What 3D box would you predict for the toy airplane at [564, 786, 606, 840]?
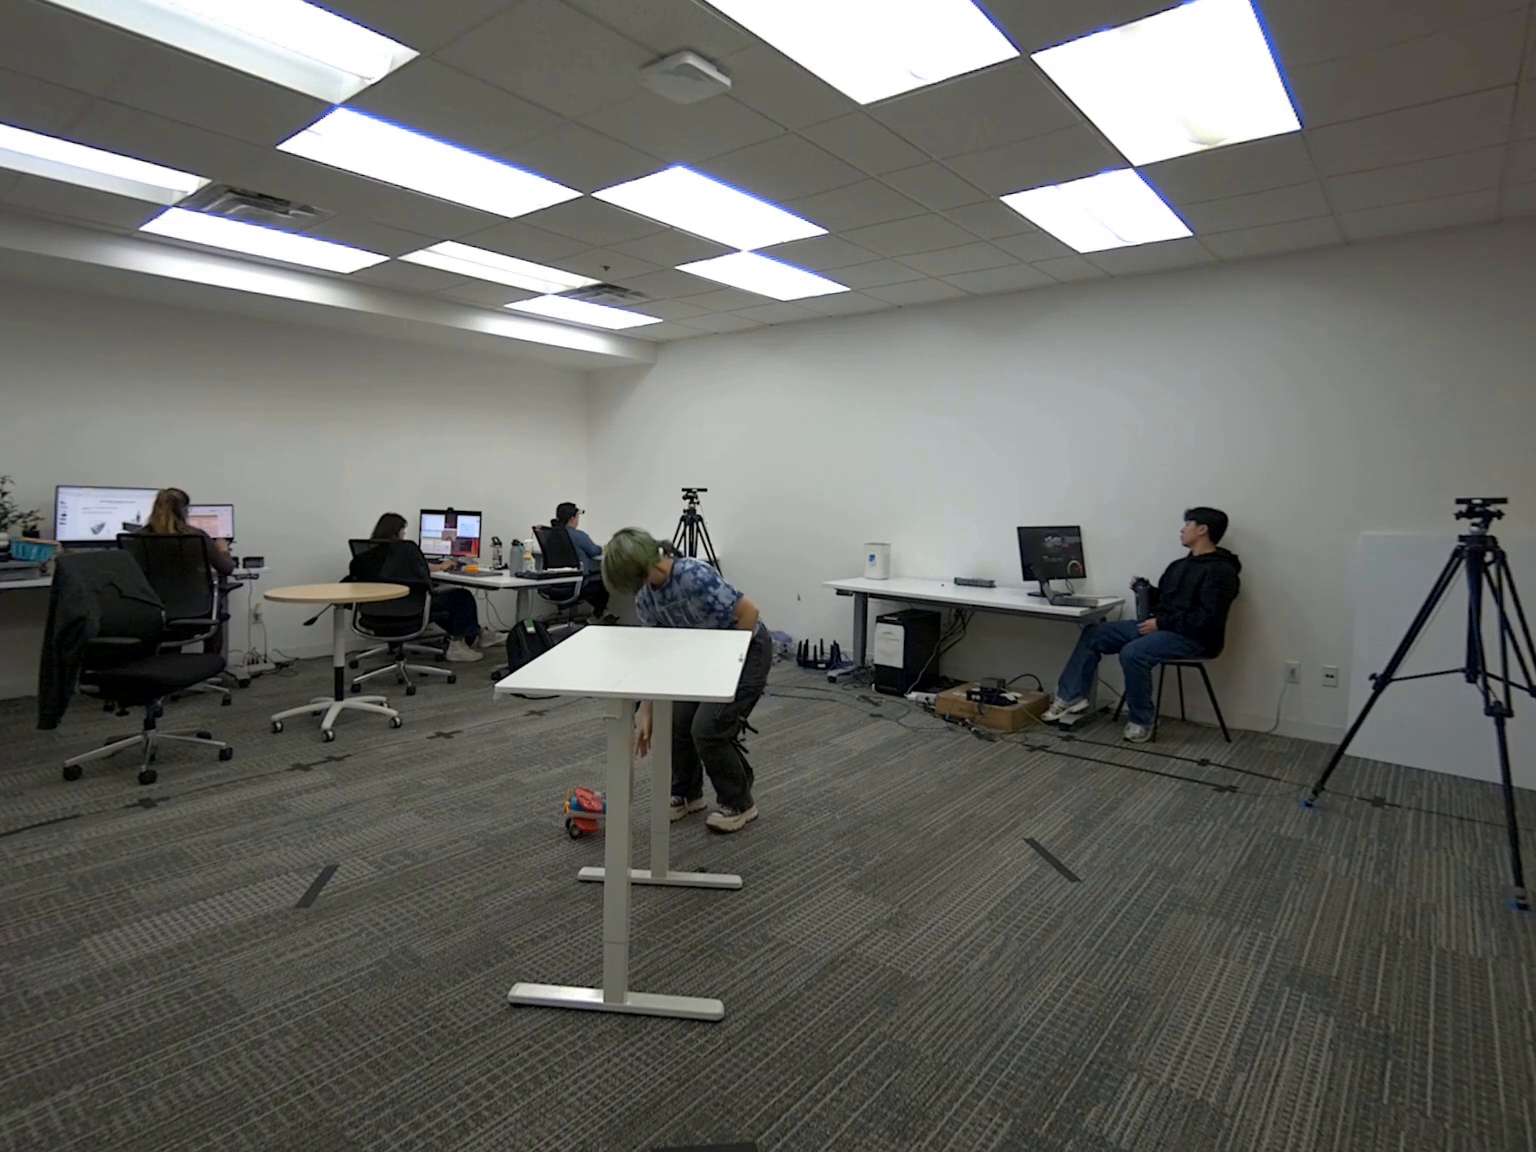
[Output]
[{"bbox_3d":[-0.722,0.961,3.453,0.259,0.156,0.251,4,6,42],"label":"toy airplane"}]
